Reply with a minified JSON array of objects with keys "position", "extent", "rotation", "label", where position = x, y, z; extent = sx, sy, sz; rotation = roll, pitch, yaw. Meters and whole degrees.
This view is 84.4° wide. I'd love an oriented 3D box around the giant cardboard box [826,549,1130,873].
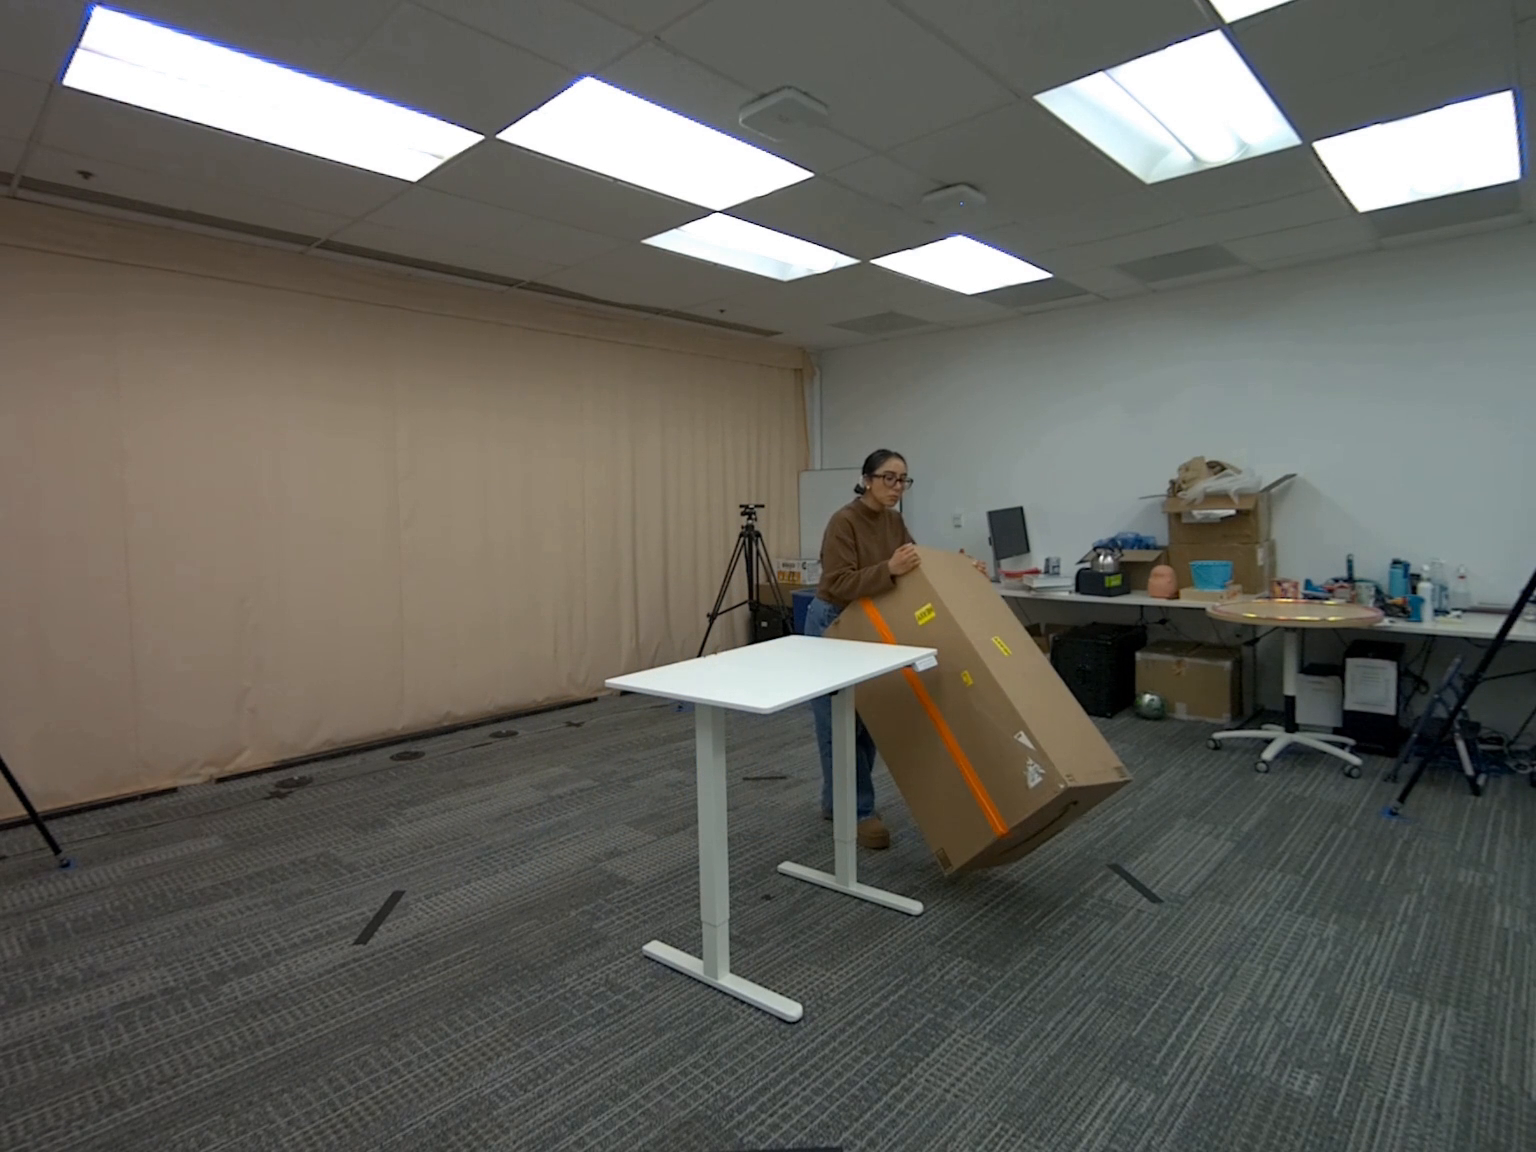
[{"position":[0.723,0.485,3.129],"extent":[0.412,1.056,0.580],"rotation":[8,-47,-40],"label":"giant cardboard box"}]
